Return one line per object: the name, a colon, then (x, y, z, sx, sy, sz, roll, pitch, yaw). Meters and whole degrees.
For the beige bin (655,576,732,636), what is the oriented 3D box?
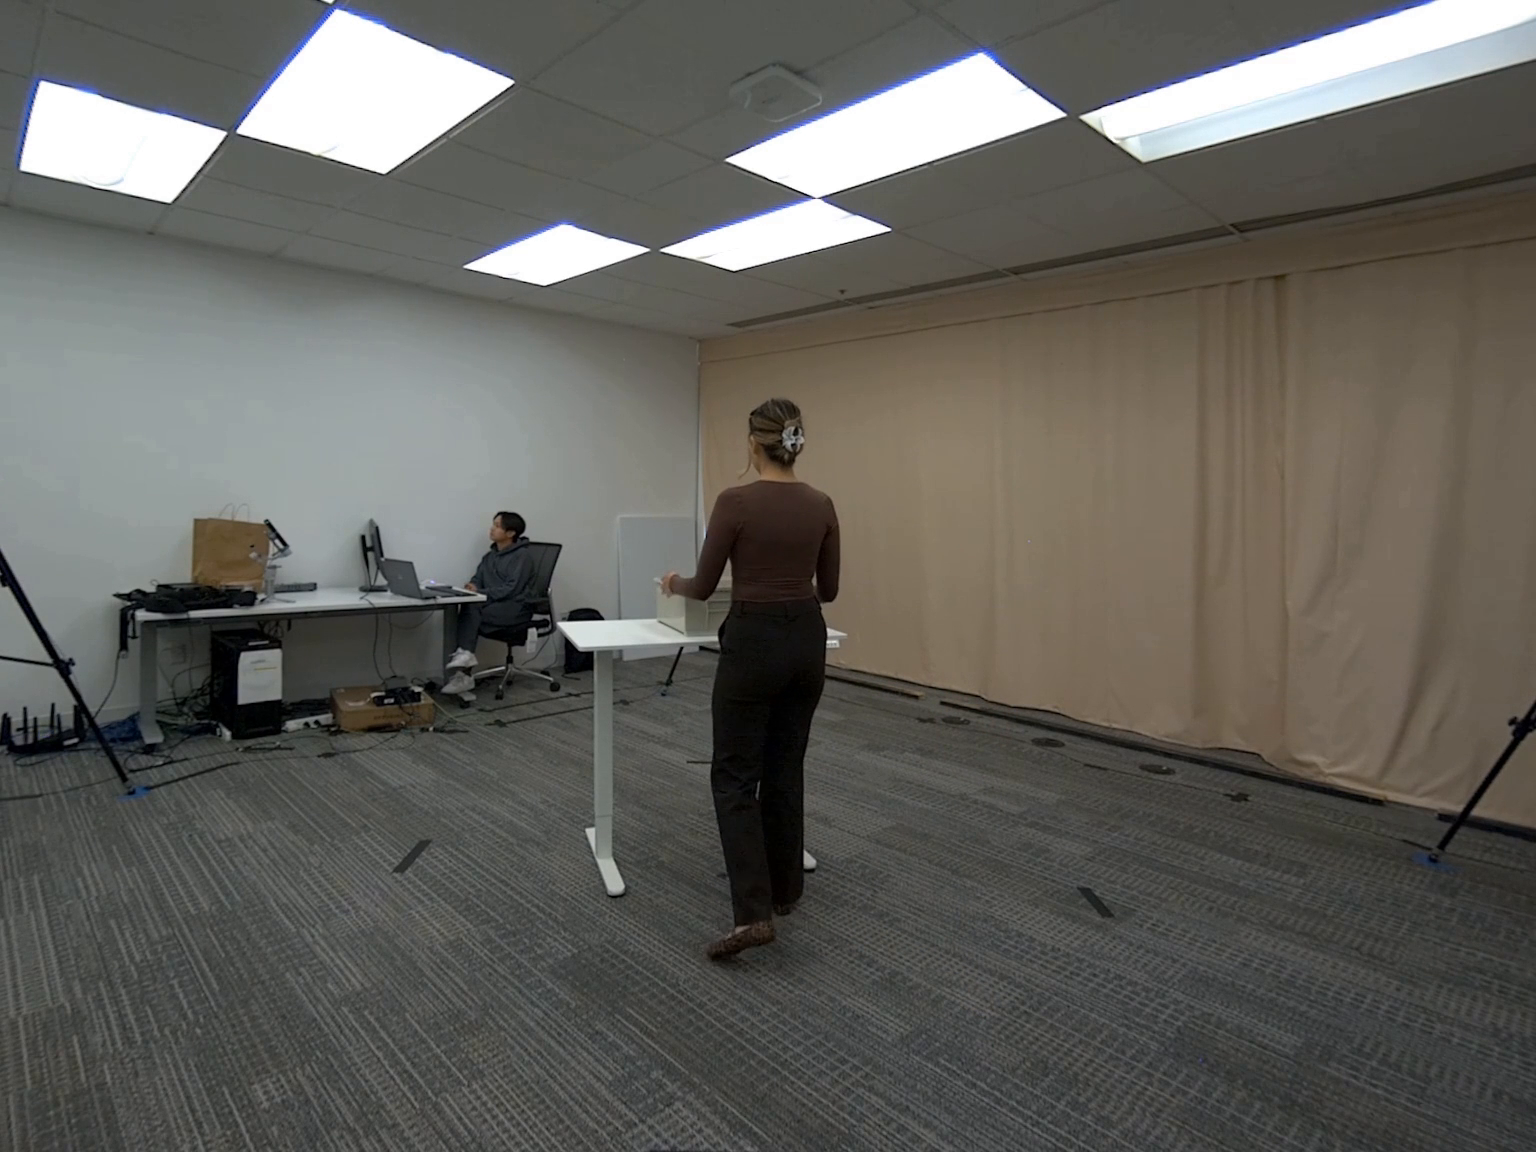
beige bin: (-0.220, 0.112, 3.313, 0.371, 0.188, 0.430, -2, 6, -23)
